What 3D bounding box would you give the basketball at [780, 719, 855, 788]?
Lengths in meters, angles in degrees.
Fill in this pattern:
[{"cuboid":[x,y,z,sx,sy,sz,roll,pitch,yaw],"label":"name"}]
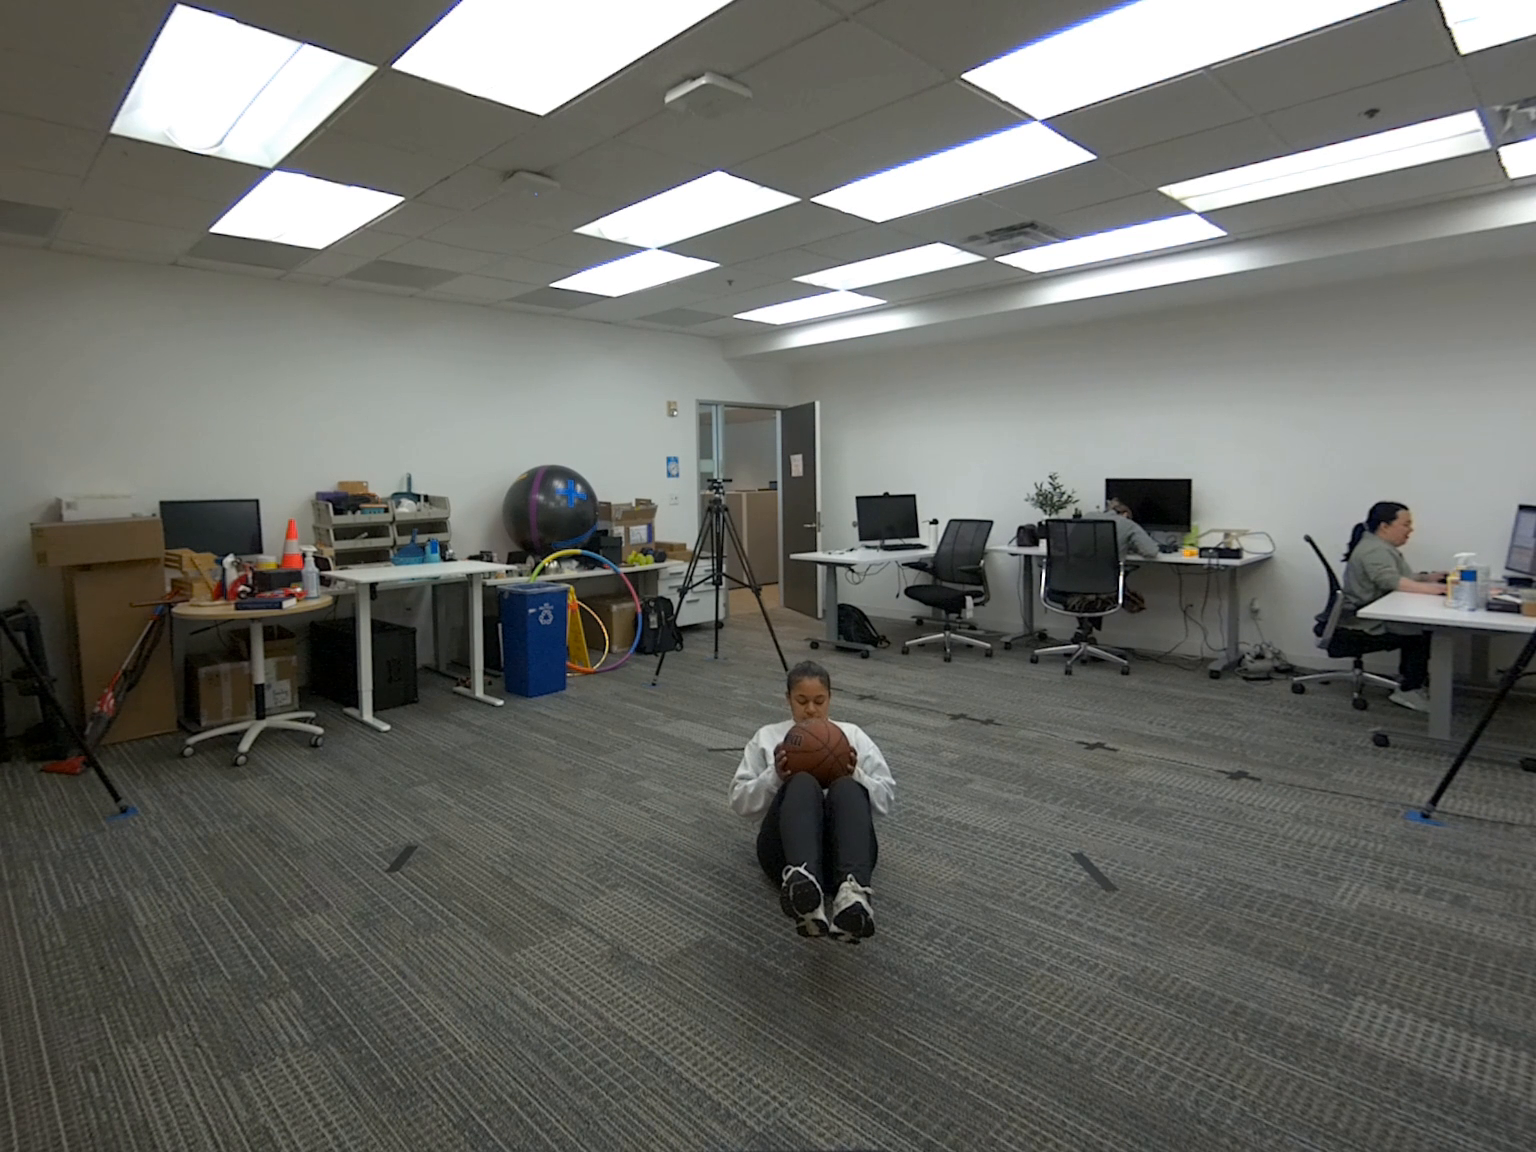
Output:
[{"cuboid":[0.171,0.608,2.912,0.236,0.235,0.237,-1,5,-2],"label":"basketball"}]
